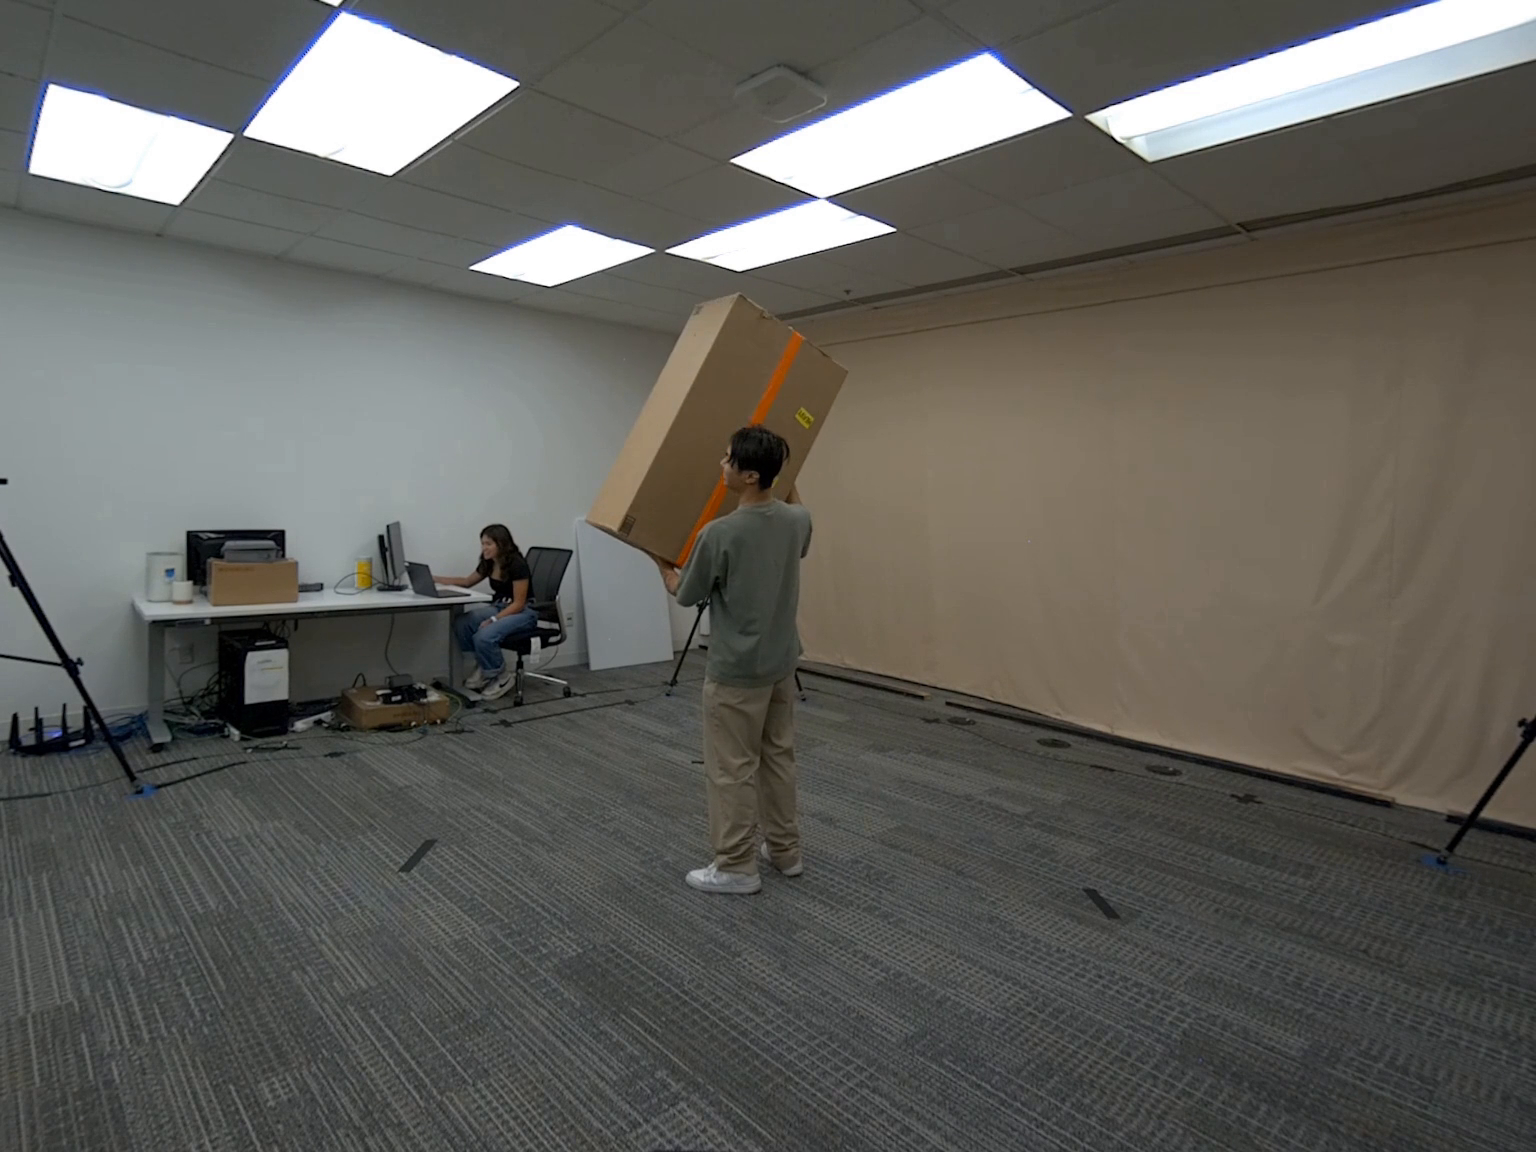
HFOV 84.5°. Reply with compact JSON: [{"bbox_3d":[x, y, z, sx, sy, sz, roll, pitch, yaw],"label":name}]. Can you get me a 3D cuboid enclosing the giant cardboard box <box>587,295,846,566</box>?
[{"bbox_3d":[-0.214,-0.524,3.414,0.563,1.027,0.436,29,-6,-28],"label":"giant cardboard box"}]
